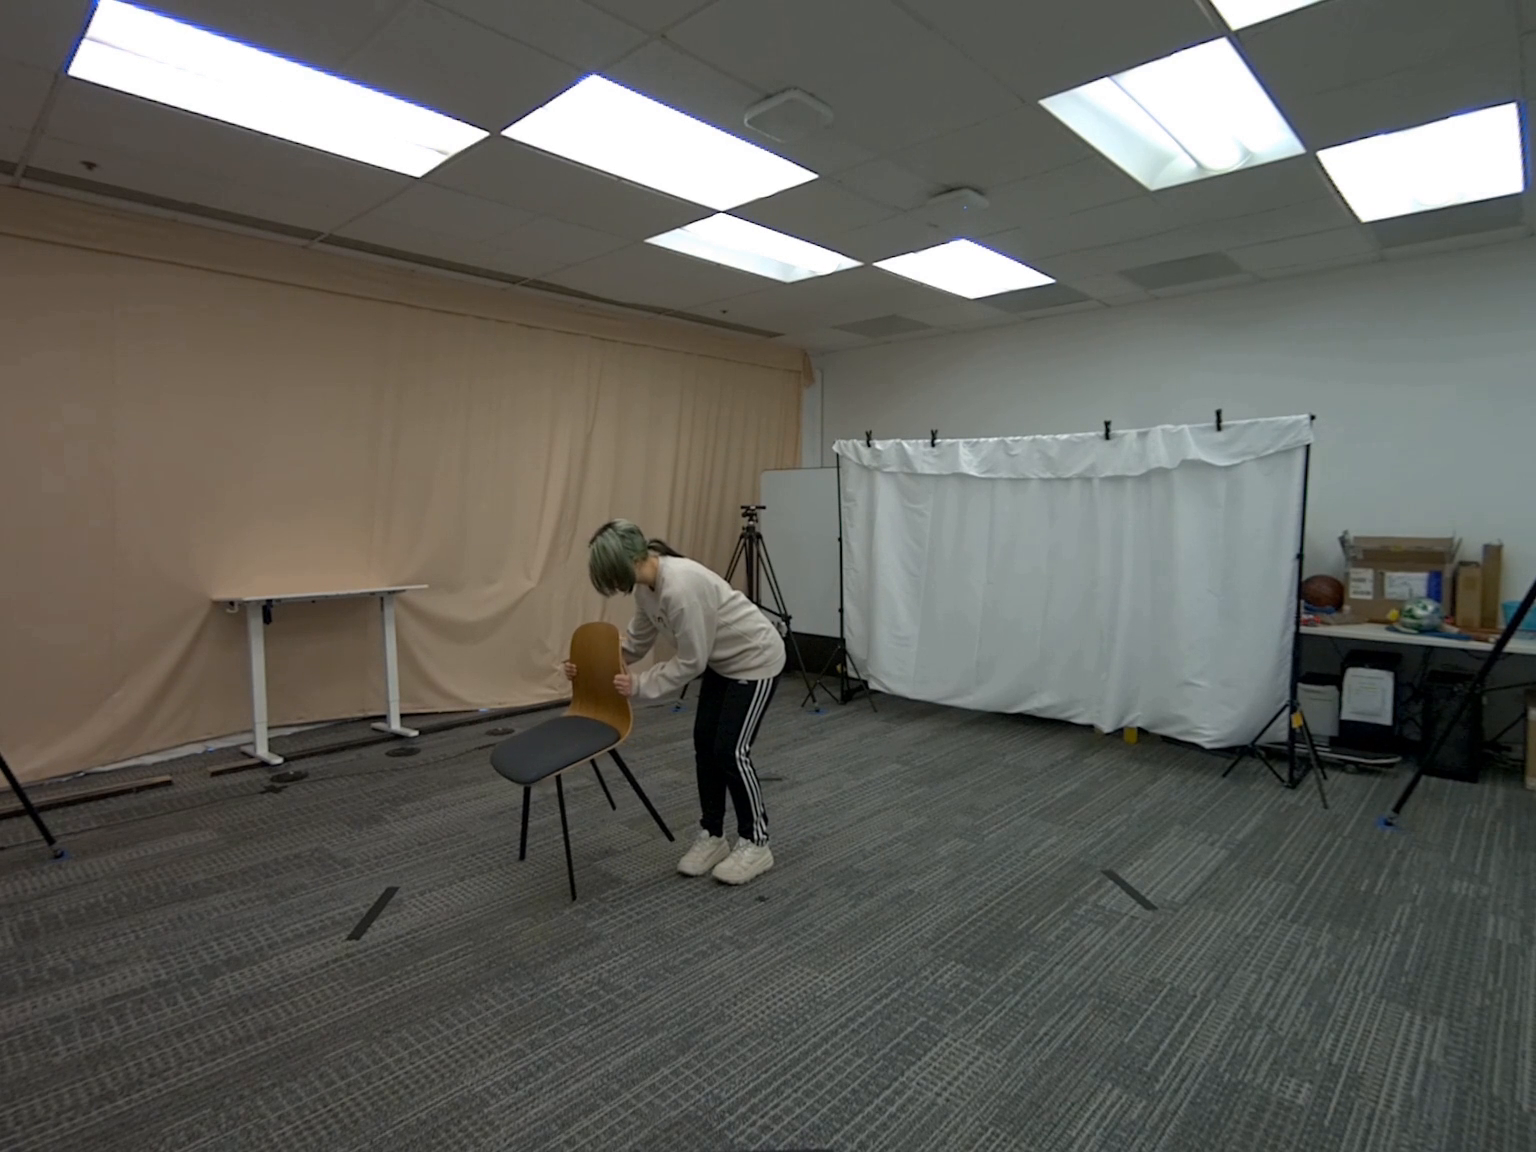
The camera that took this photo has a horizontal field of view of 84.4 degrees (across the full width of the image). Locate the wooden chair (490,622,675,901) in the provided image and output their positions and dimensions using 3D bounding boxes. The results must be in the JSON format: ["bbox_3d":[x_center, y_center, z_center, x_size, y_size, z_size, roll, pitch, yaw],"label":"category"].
[{"bbox_3d":[-0.754,0.667,3.185,0.510,0.871,0.494,-15,12,-37],"label":"wooden chair"}]
